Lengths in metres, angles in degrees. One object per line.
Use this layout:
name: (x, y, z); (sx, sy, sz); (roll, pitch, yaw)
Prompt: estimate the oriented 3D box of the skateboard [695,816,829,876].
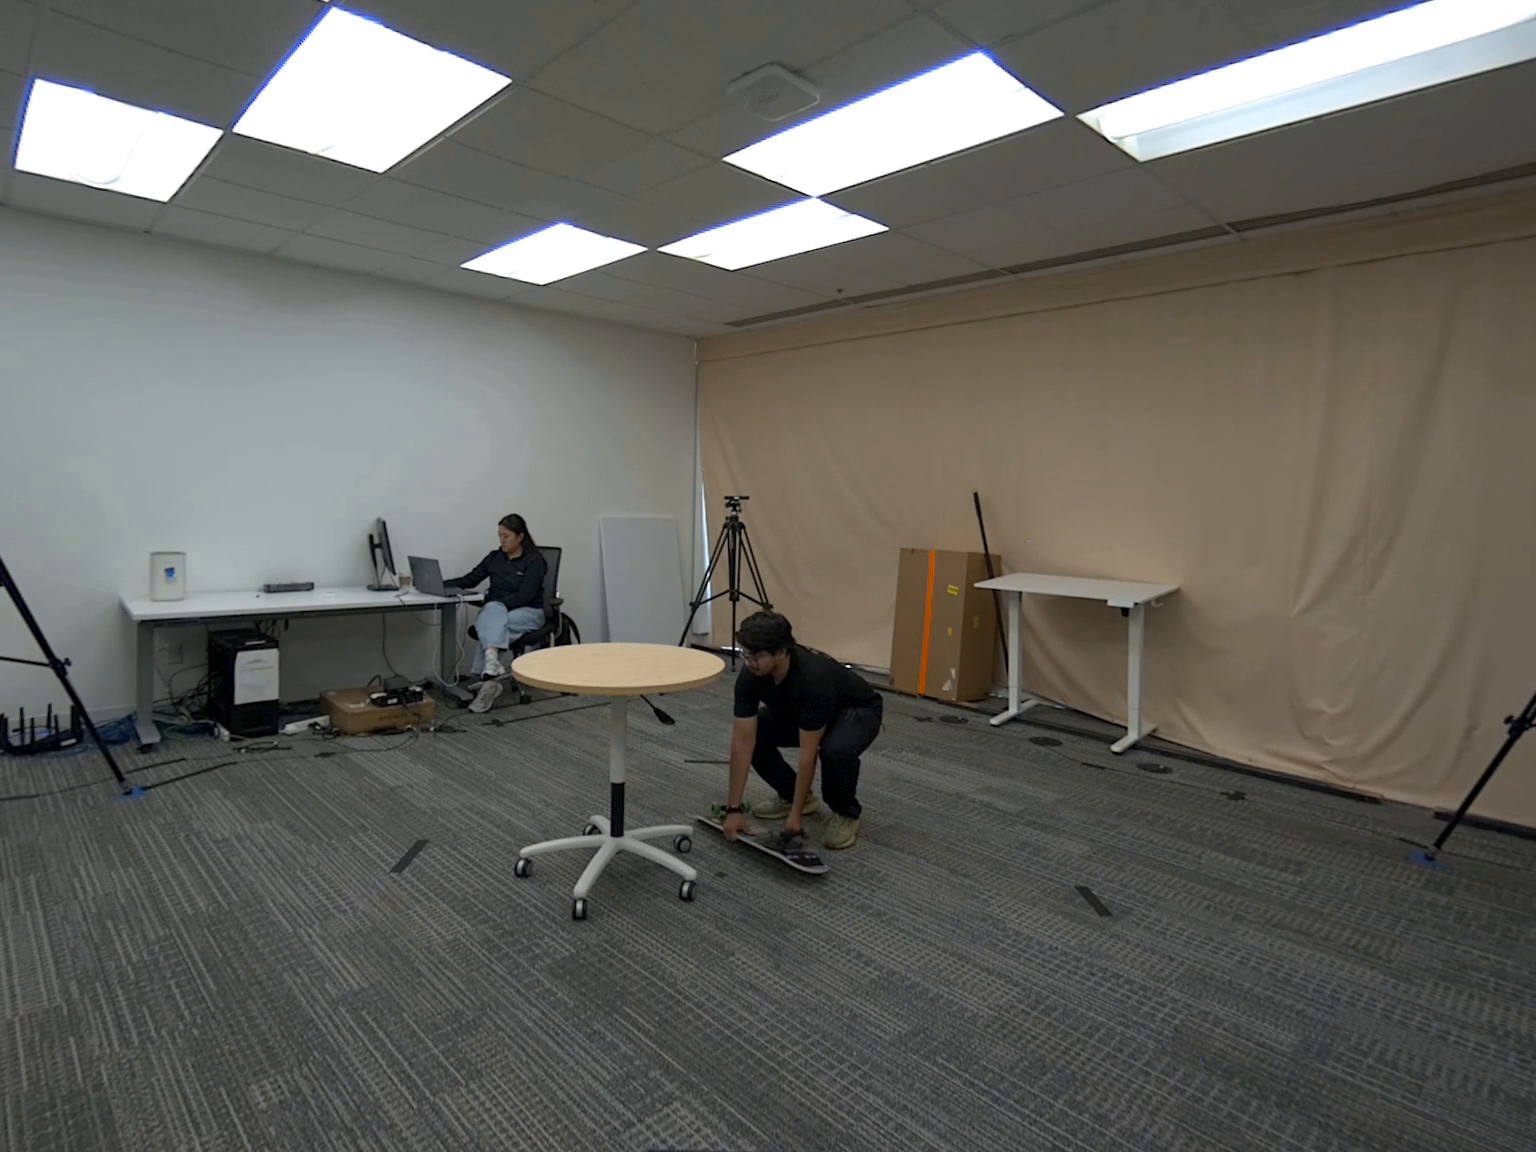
skateboard: (-0.048, 1.002, 3.363); (0.188, 0.110, 0.804); (11, -5, -36)
